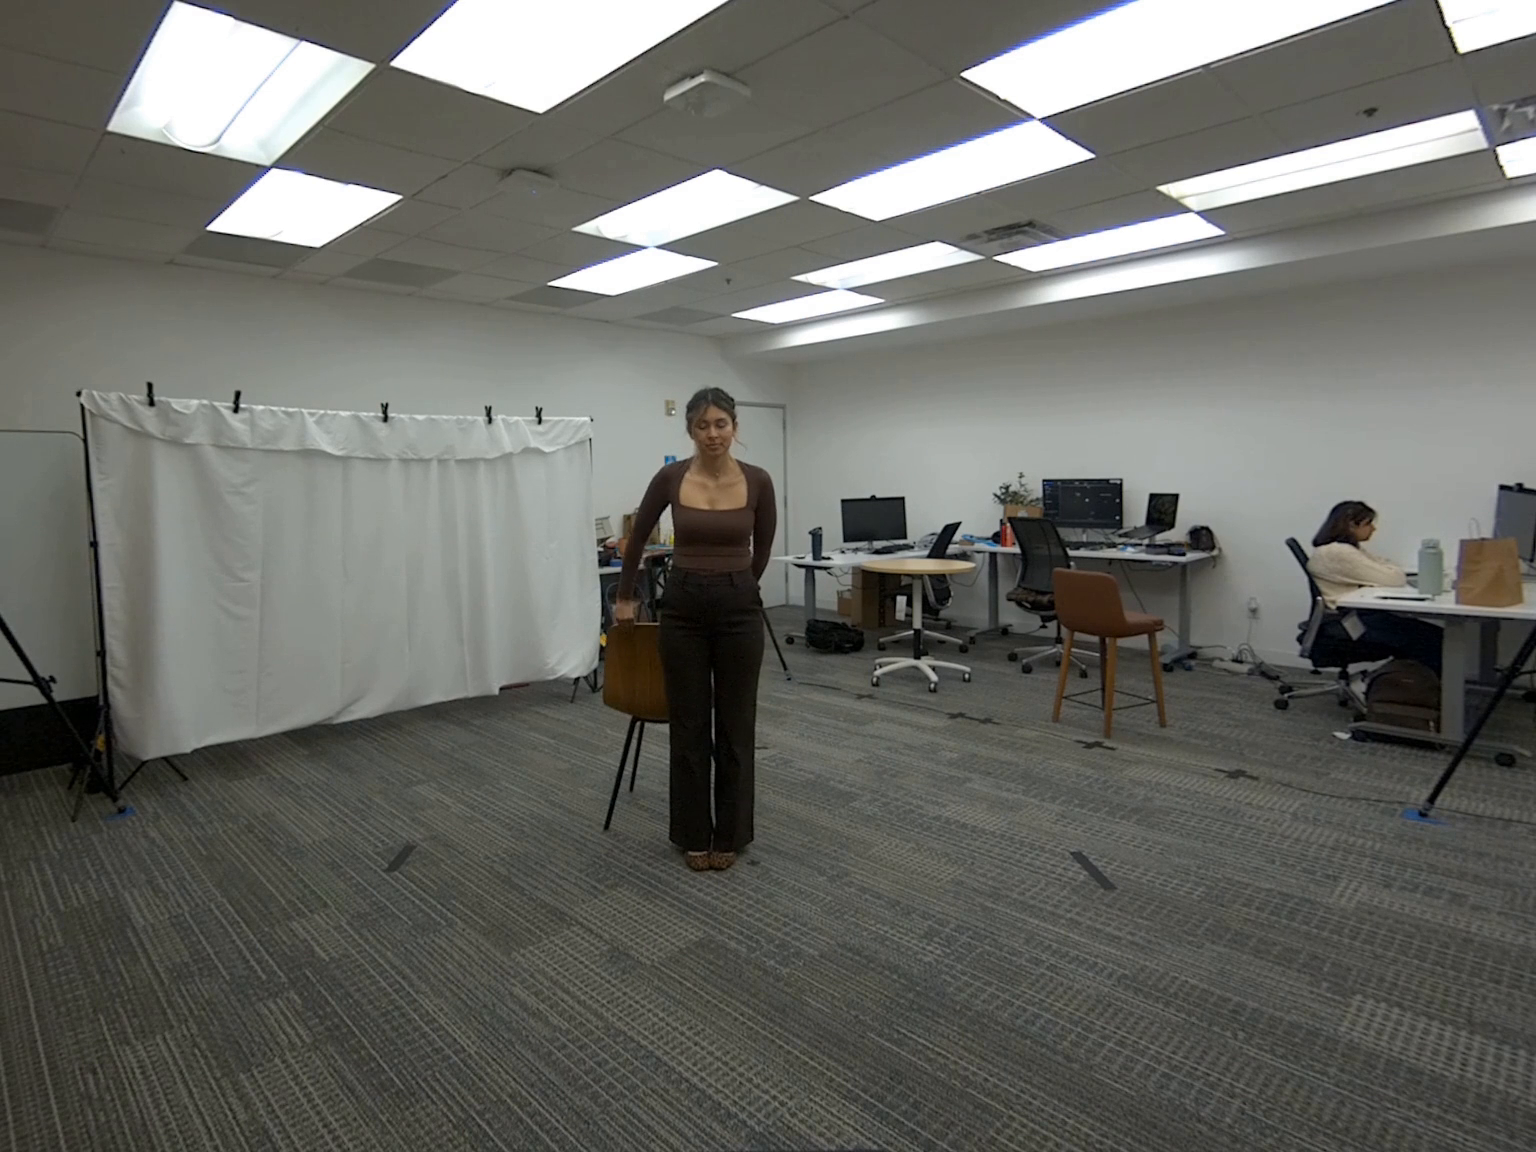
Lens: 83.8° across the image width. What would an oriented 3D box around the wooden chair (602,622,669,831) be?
[{"bbox_3d":[-0.415,0.569,3.591,0.481,0.871,0.523,-1,8,6],"label":"wooden chair"}]
